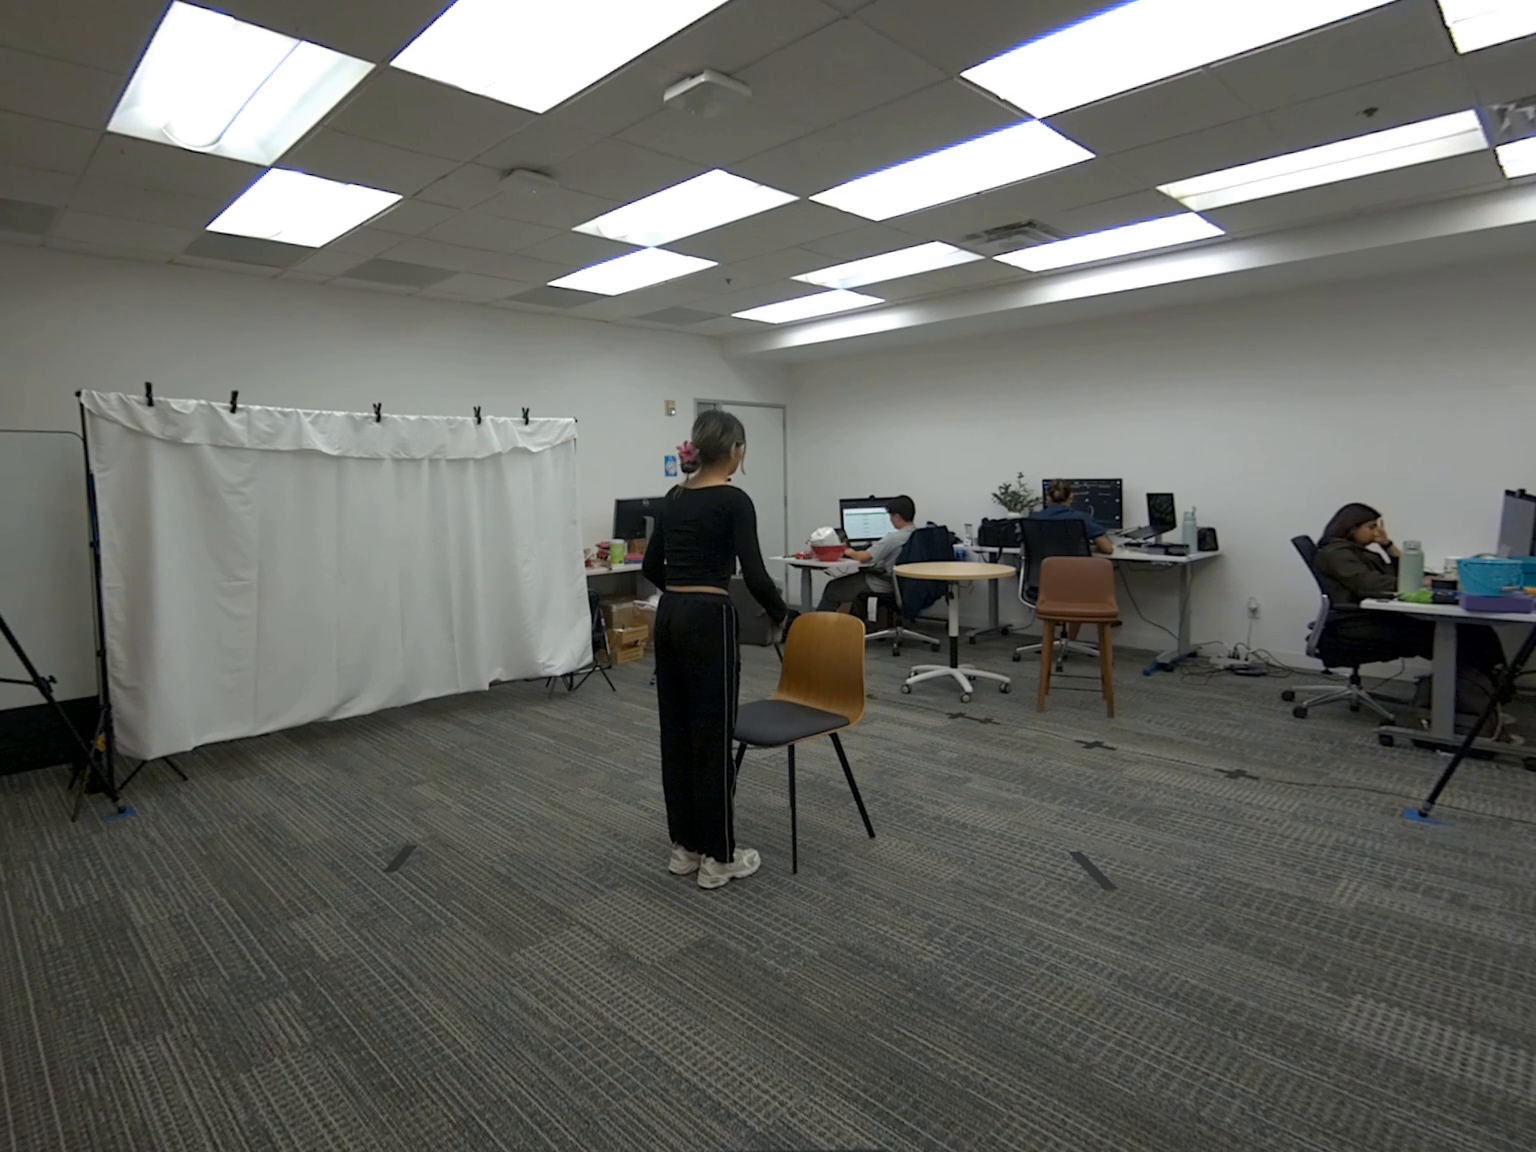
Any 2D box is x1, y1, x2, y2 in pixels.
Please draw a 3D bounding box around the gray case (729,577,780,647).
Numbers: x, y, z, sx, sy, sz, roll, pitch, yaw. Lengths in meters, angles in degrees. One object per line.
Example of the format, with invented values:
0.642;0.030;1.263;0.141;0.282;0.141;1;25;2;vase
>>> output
-0.071;0.125;3.207;0.264;0.261;0.101;0;-4;39;gray case
